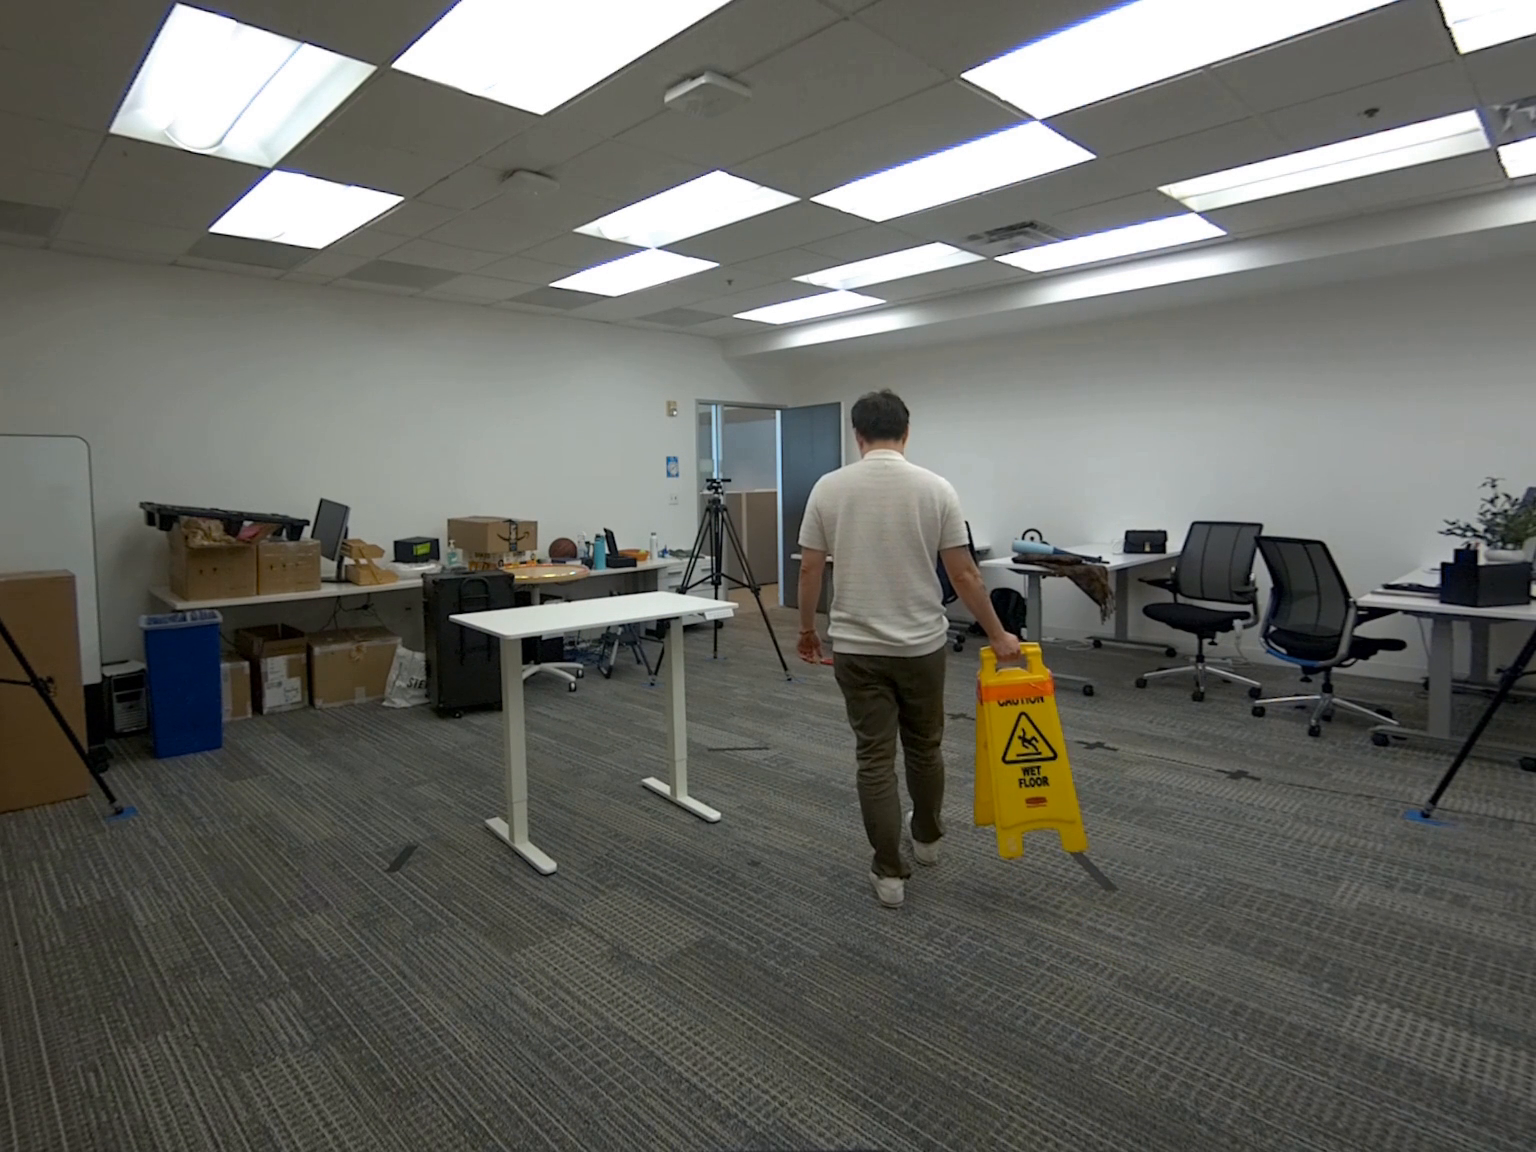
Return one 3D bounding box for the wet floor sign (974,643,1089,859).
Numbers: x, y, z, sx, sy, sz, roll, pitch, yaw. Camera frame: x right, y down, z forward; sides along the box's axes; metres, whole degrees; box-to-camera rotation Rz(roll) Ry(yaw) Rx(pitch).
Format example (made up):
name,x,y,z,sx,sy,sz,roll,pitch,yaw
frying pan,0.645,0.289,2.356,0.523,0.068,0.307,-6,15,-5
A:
name,x,y,z,sx,sy,sz,roll,pitch,yaw
wet floor sign,0.831,0.543,2.835,0.282,0.645,0.290,-6,2,-2
